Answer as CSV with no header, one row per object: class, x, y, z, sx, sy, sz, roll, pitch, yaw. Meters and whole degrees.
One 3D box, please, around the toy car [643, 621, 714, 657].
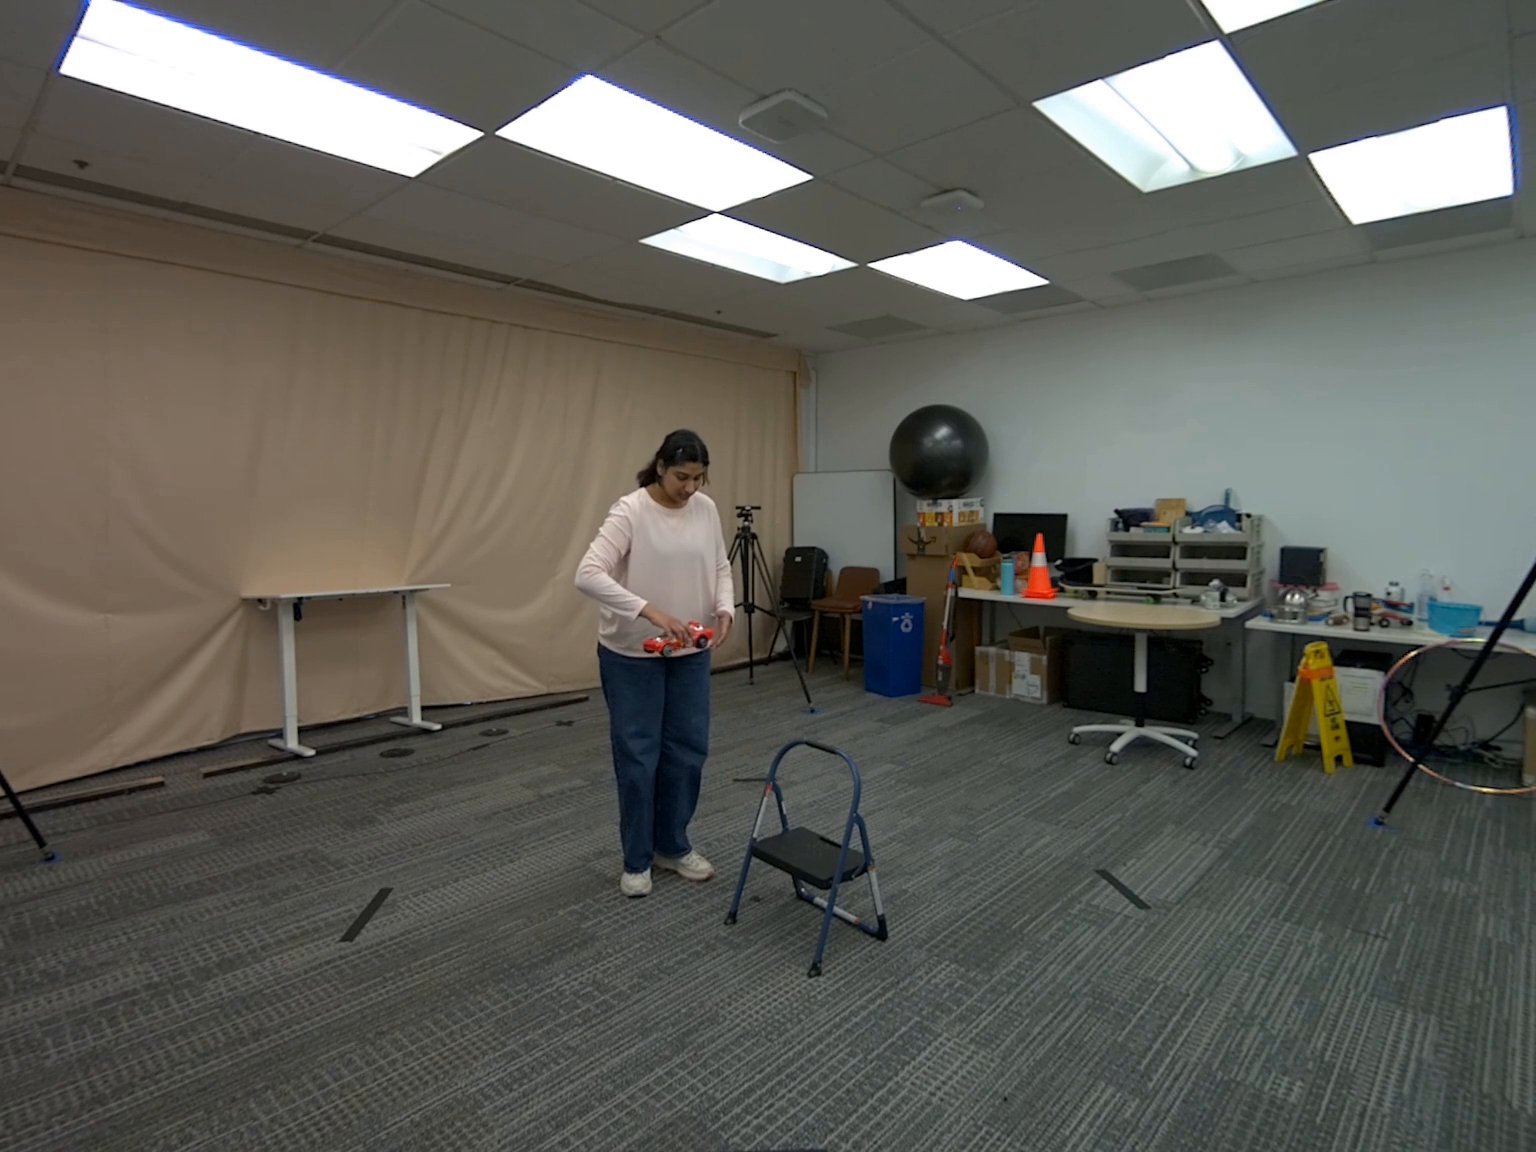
toy car,-0.284,0.220,2.821,0.249,0.082,0.135,-23,19,-38
